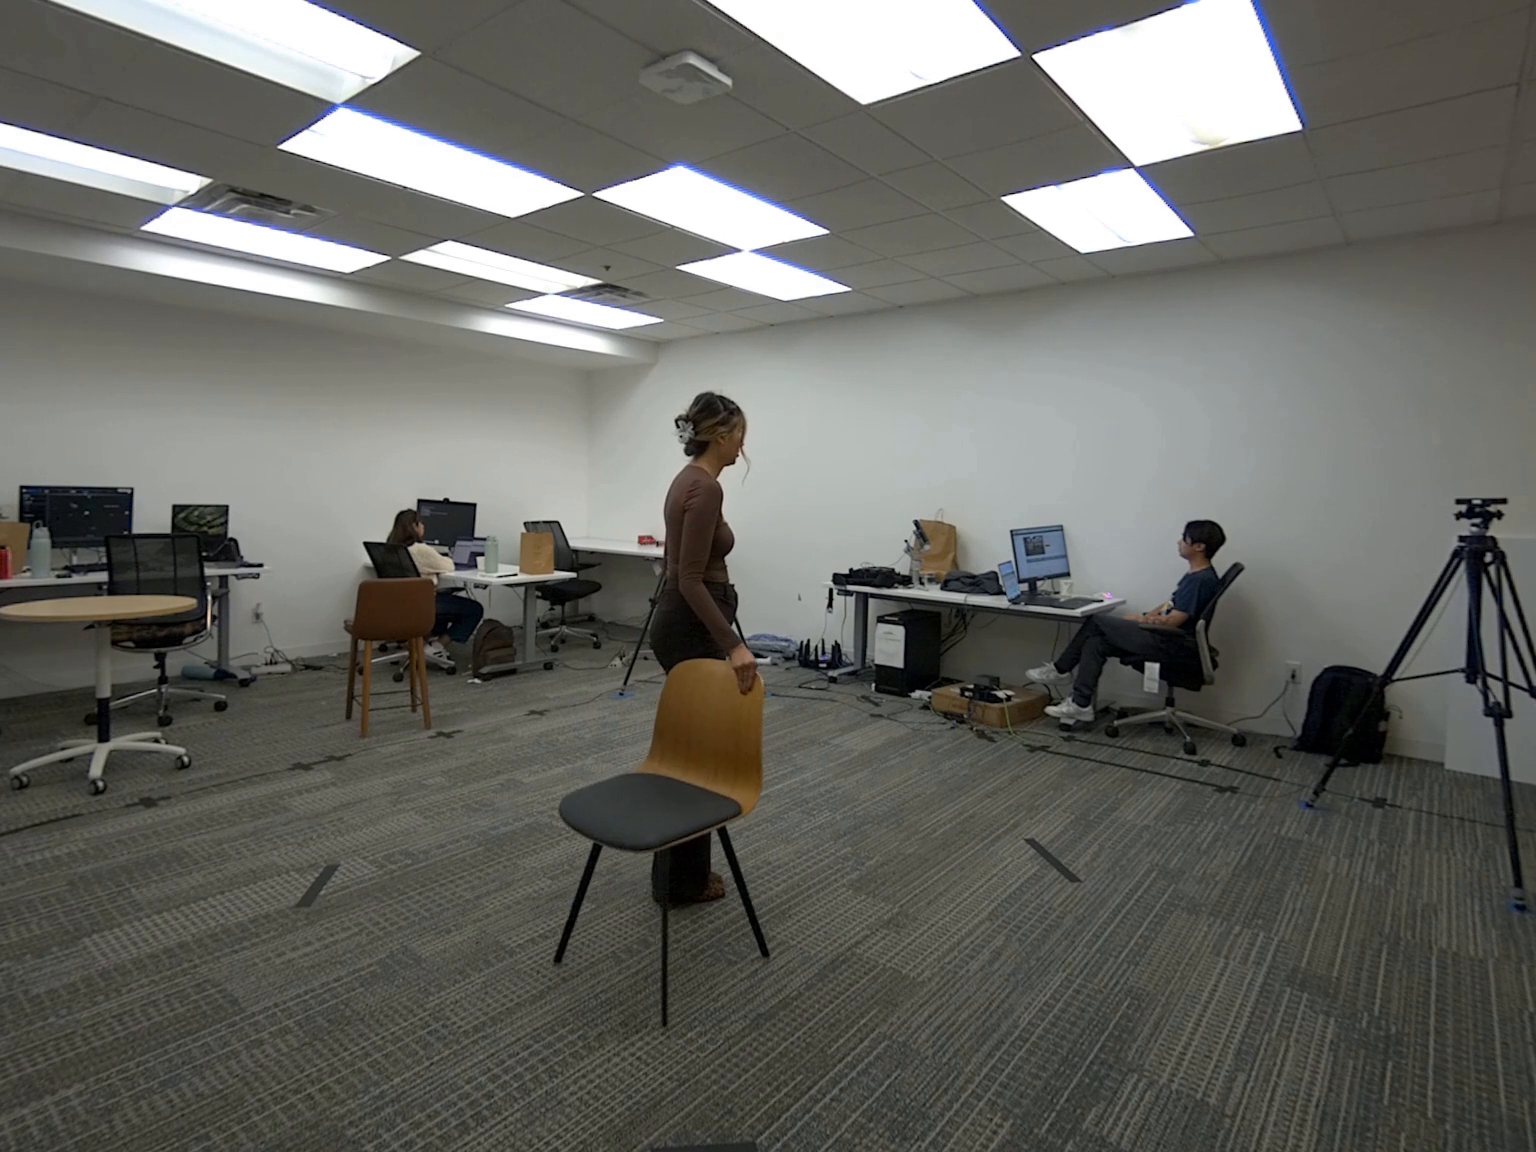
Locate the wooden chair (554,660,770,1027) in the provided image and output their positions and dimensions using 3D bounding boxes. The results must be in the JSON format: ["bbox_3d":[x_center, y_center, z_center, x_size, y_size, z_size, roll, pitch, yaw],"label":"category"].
[{"bbox_3d":[-0.312,0.700,2.477,0.494,0.877,0.506,4,0,38],"label":"wooden chair"}]
